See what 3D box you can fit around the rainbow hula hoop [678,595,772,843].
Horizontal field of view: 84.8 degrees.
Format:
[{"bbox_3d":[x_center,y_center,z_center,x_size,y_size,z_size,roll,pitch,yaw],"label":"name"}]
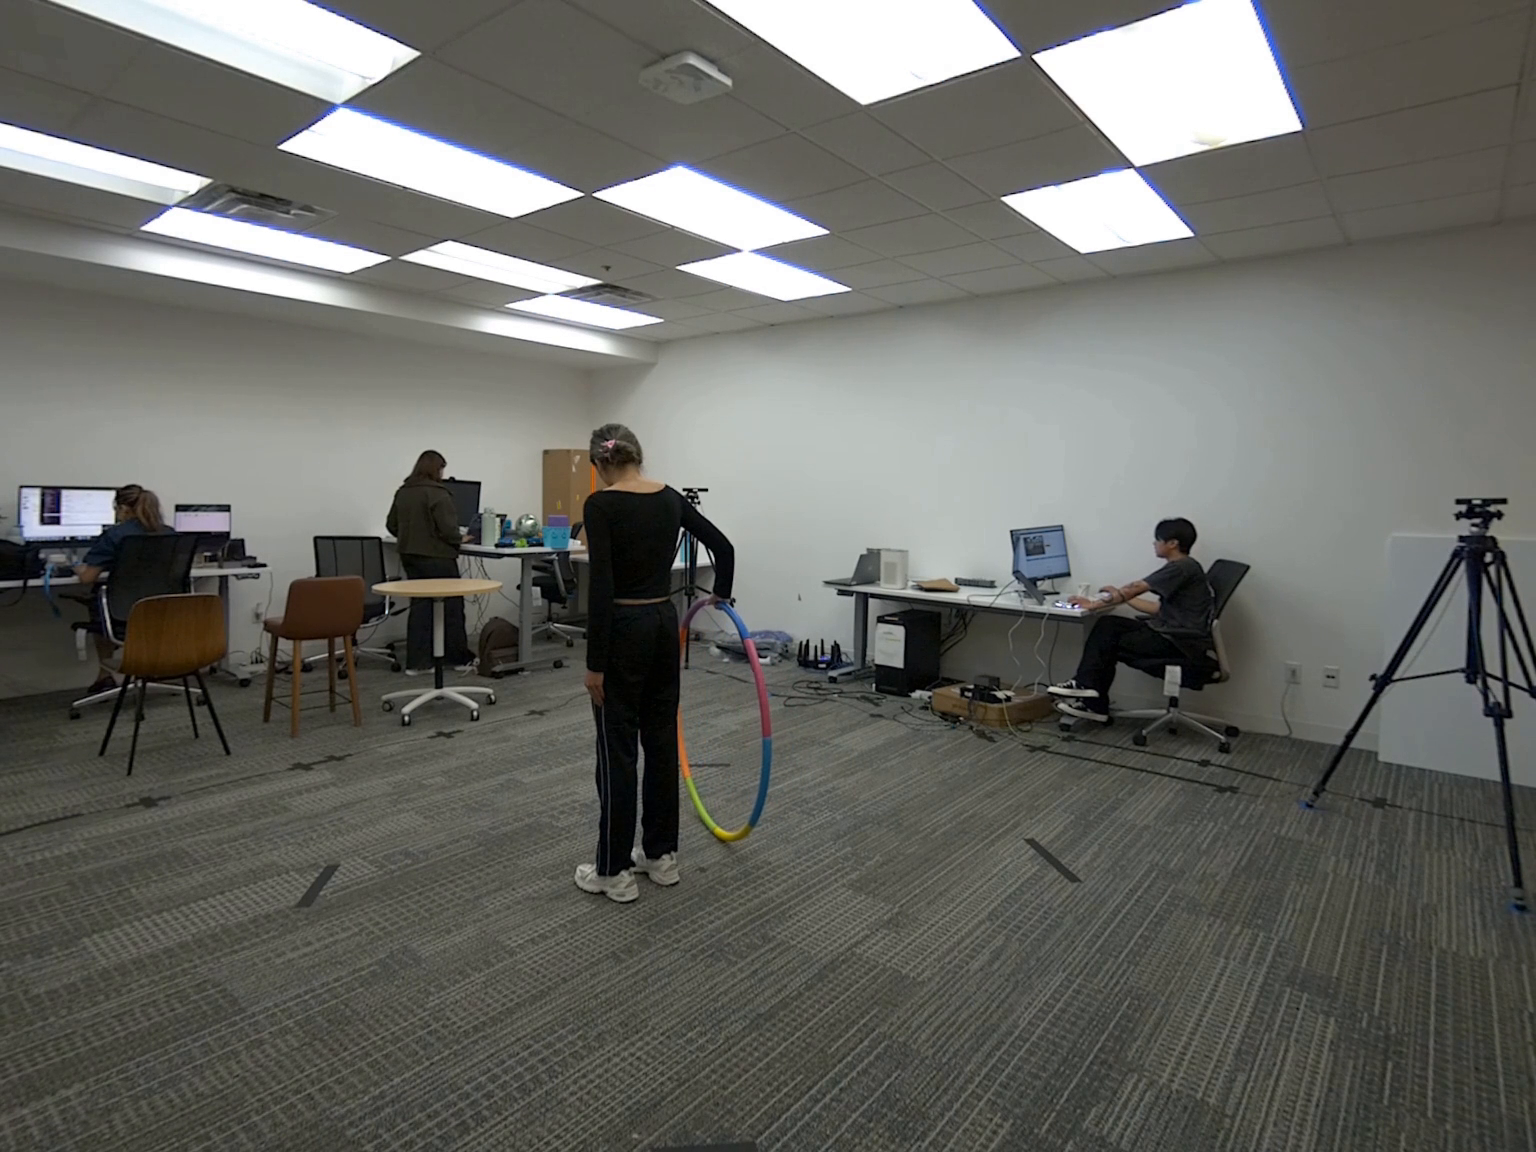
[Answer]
[{"bbox_3d":[-0.224,0.561,3.434,0.035,0.976,1.004,0,4,-24],"label":"rainbow hula hoop"}]
